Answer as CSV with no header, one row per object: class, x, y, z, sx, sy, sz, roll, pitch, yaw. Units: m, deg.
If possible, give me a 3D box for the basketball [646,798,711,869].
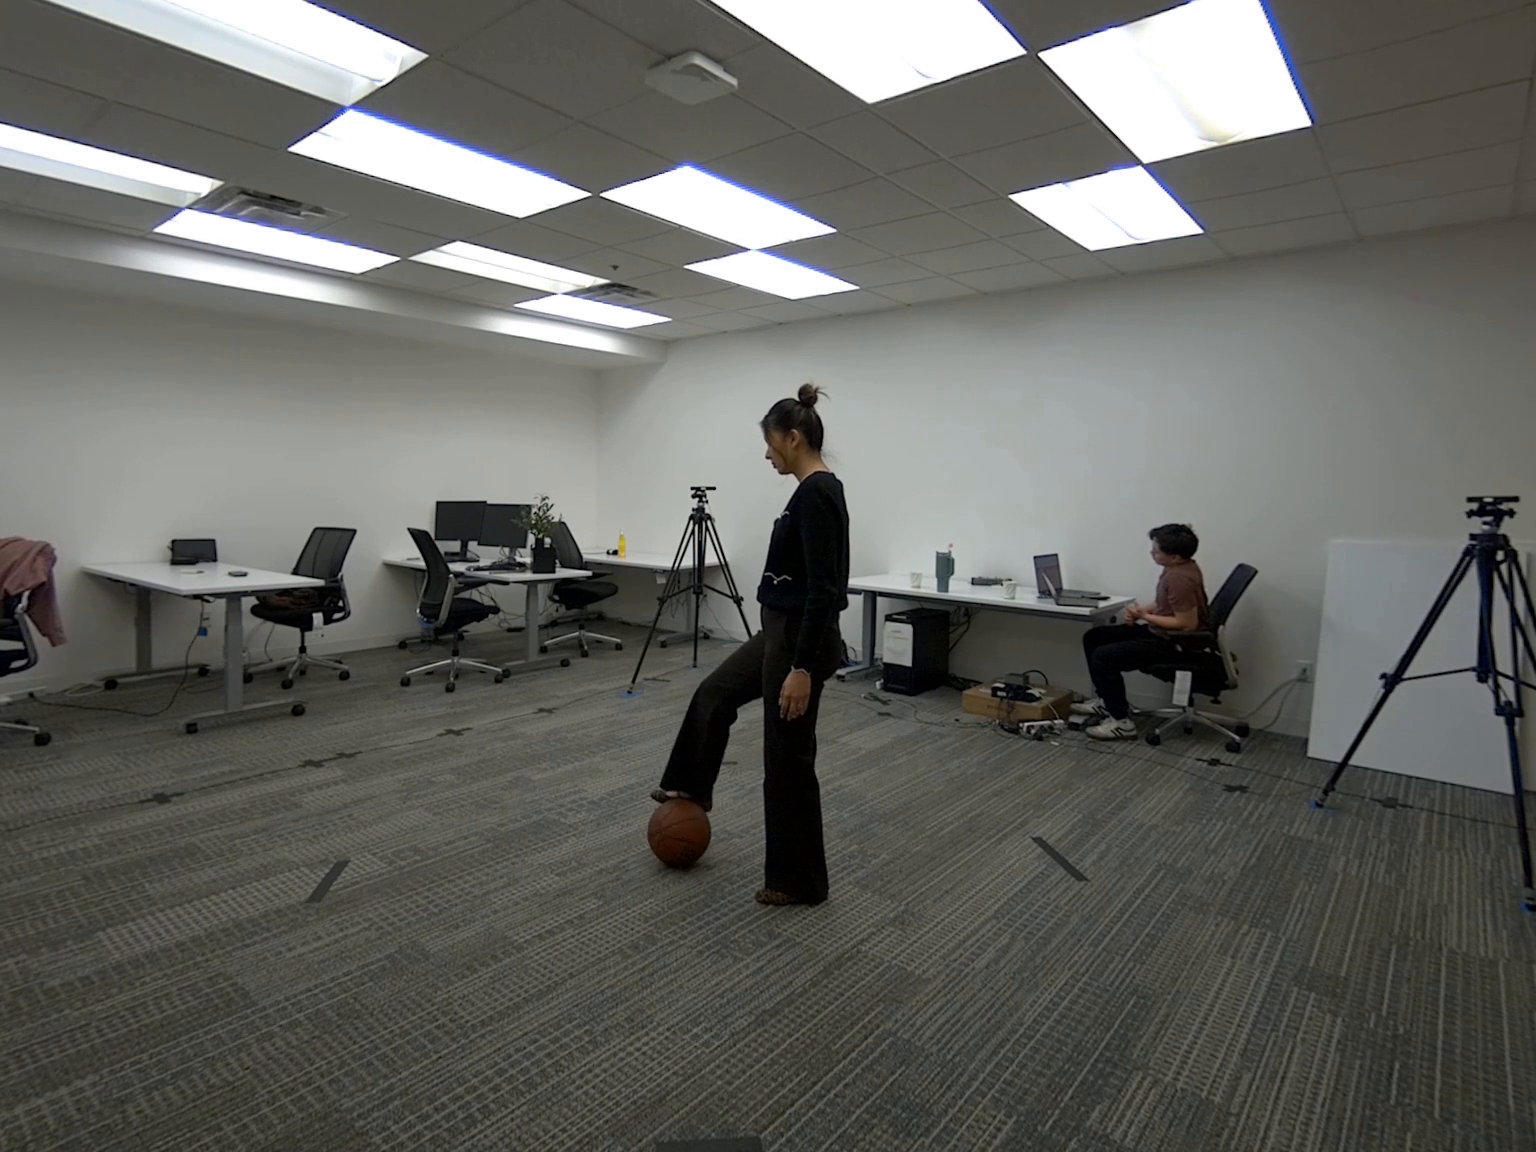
basketball,-0.334,0.940,3.135,0.235,0.235,0.237,1,4,-2
